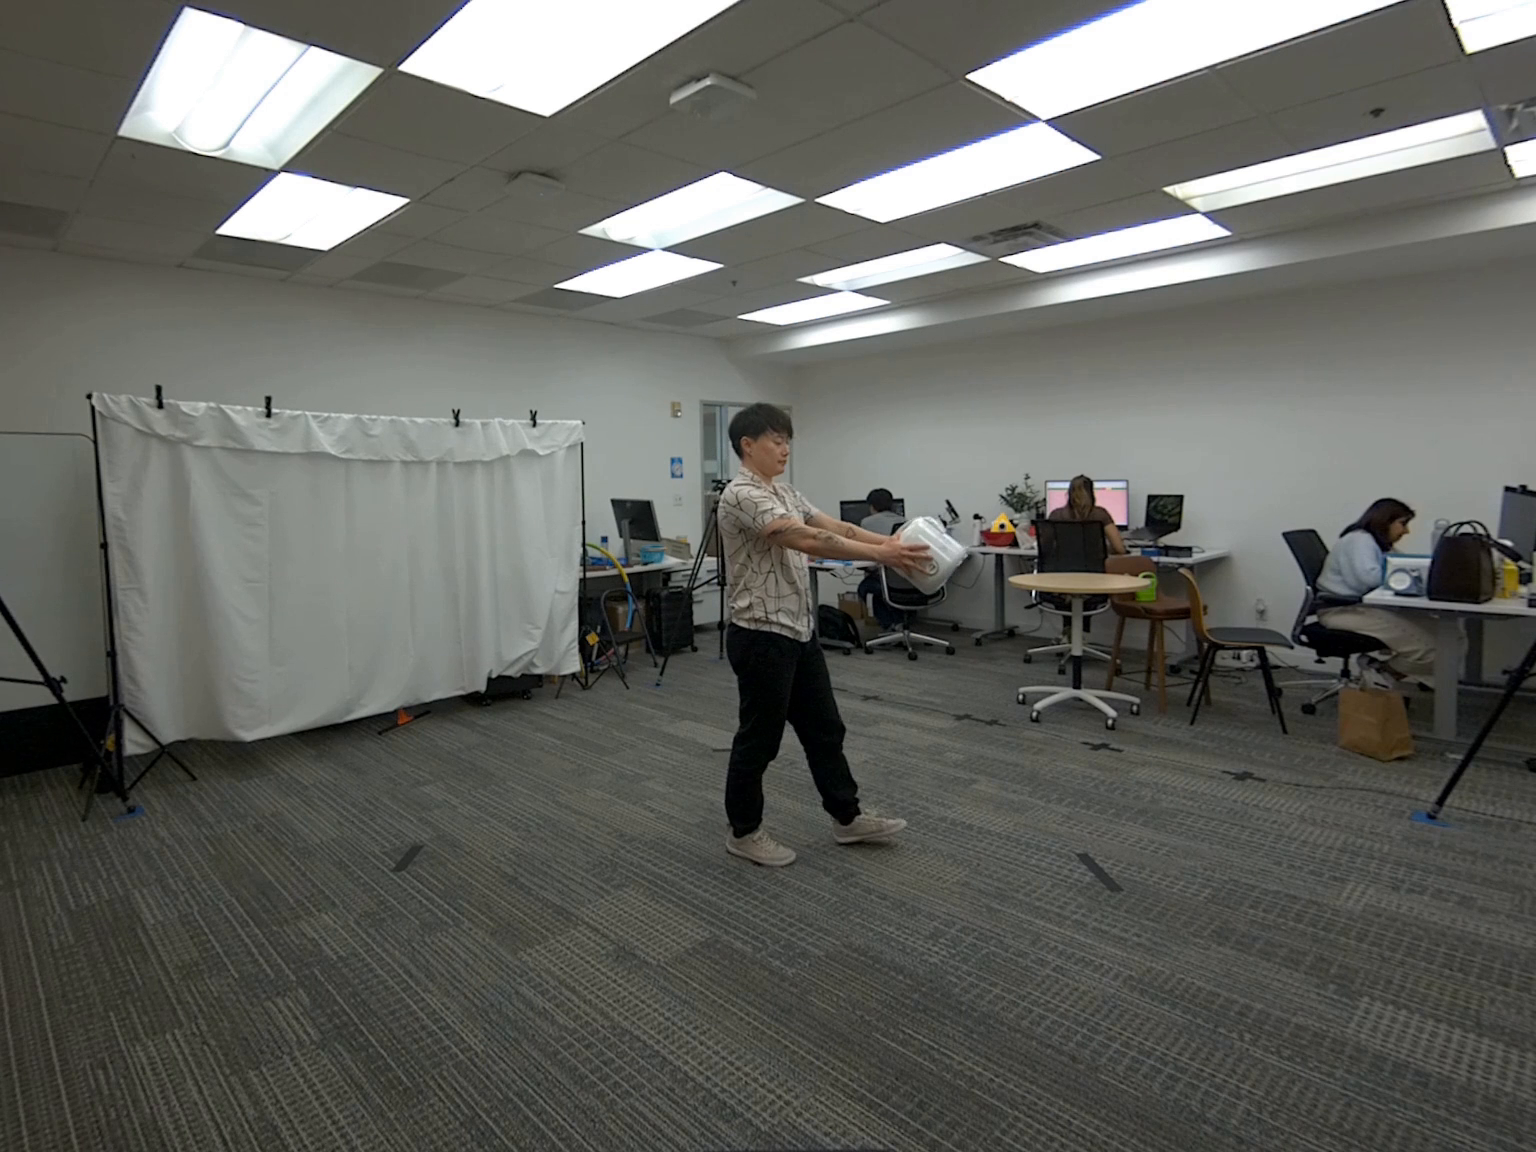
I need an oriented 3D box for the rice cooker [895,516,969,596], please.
[{"bbox_3d":[0.532,-0.078,2.900,0.237,0.220,0.214,40,18,12],"label":"rice cooker"}]
